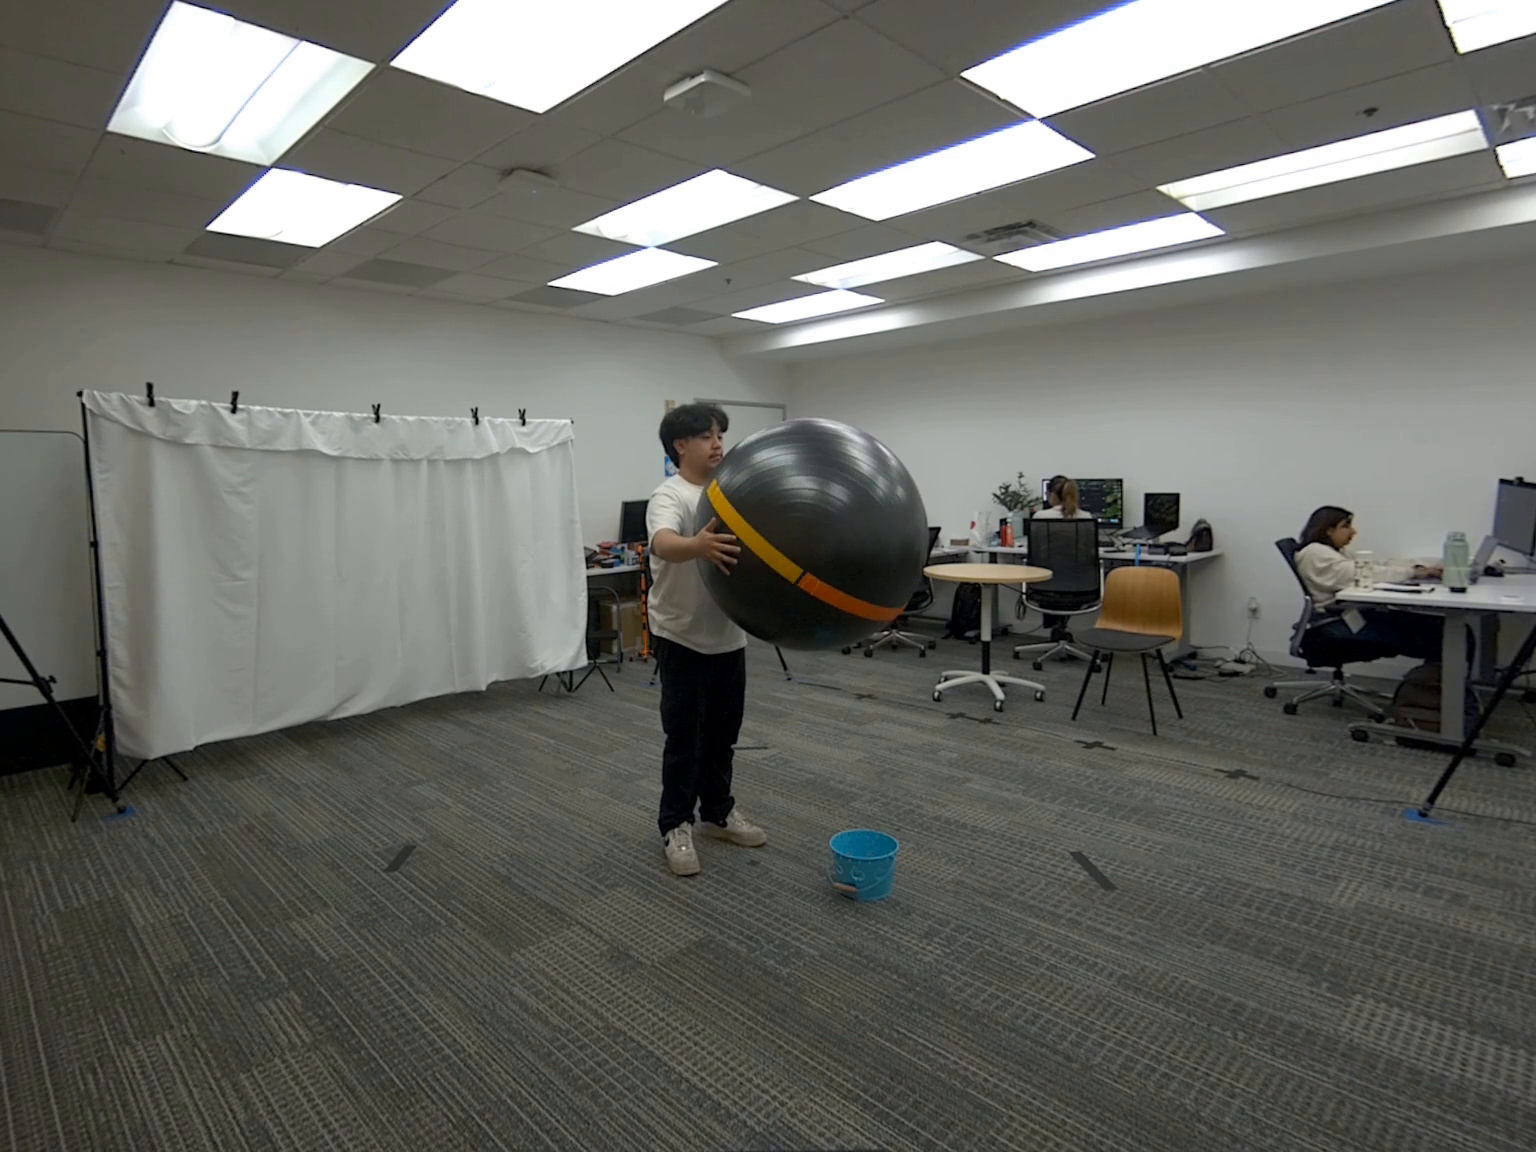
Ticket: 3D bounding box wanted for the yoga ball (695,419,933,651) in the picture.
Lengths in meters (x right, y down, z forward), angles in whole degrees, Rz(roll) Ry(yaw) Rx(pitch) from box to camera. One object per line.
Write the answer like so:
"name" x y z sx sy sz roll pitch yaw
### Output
"yoga ball" 0.135 -0.126 2.792 0.757 0.755 0.762 -1 5 -2
